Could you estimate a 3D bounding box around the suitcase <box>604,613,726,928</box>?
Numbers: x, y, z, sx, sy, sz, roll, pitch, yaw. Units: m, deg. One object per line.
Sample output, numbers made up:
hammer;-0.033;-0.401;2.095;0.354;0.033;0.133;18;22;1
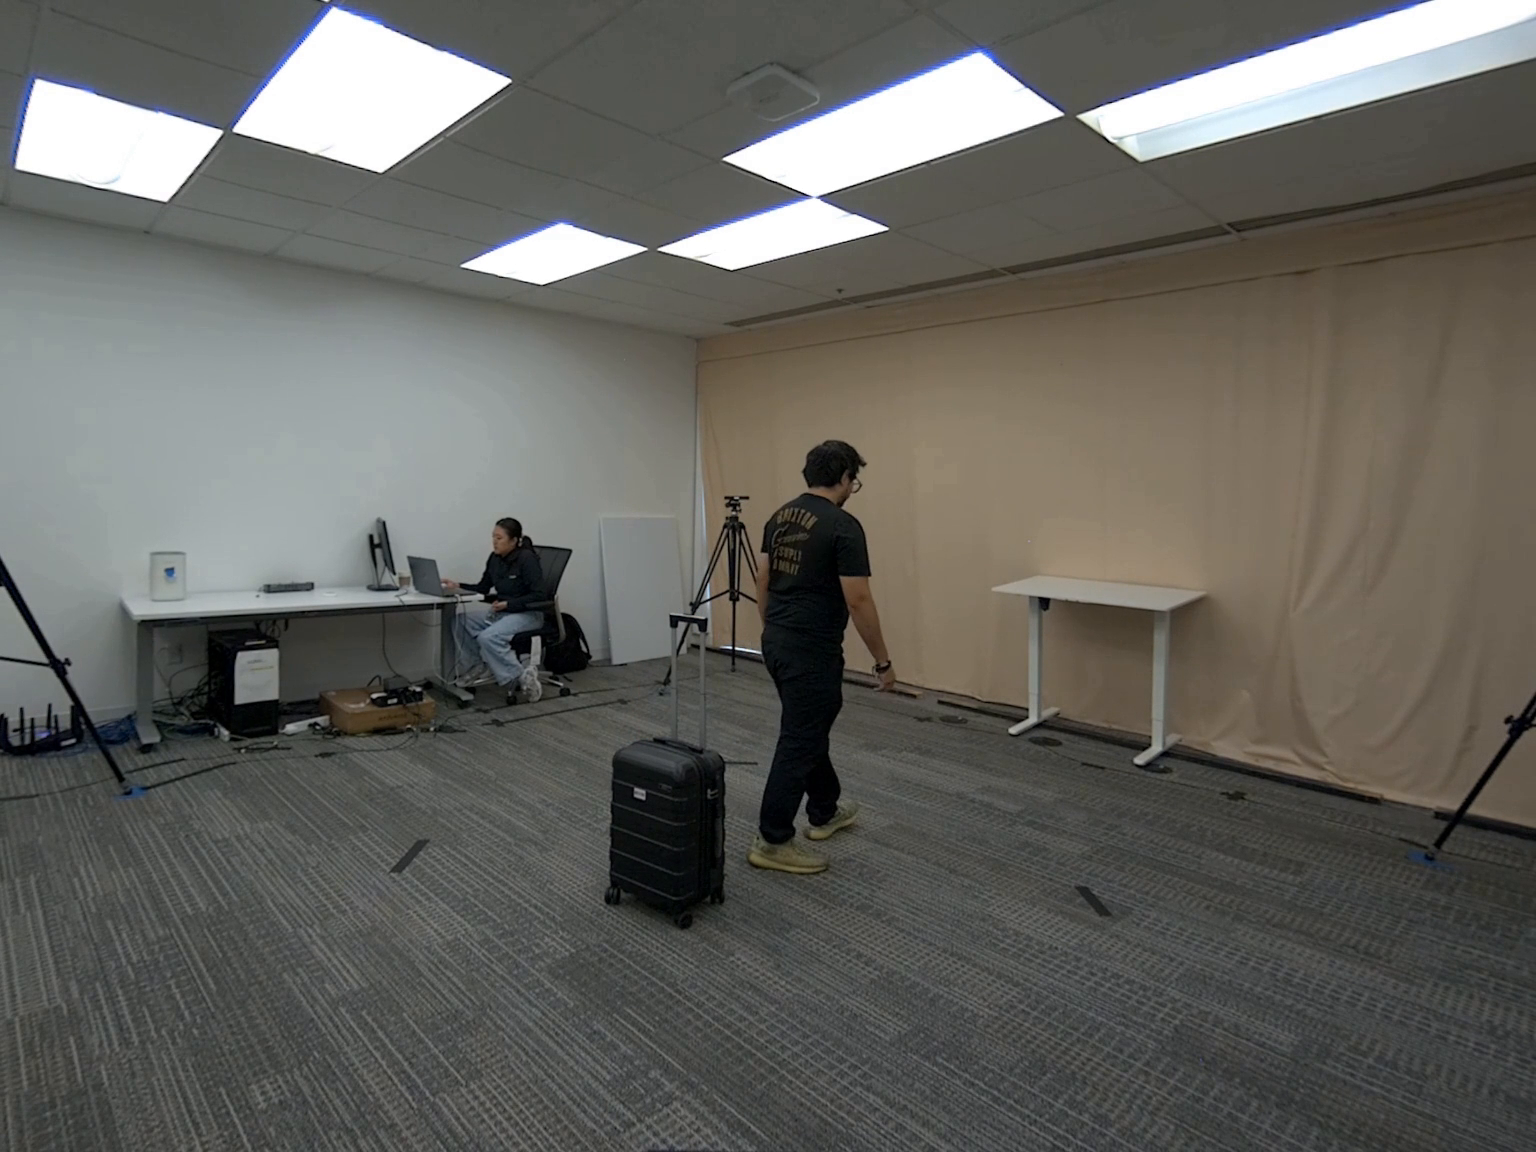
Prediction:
suitcase;-0.348;0.647;2.847;0.393;0.975;0.252;4;6;34
